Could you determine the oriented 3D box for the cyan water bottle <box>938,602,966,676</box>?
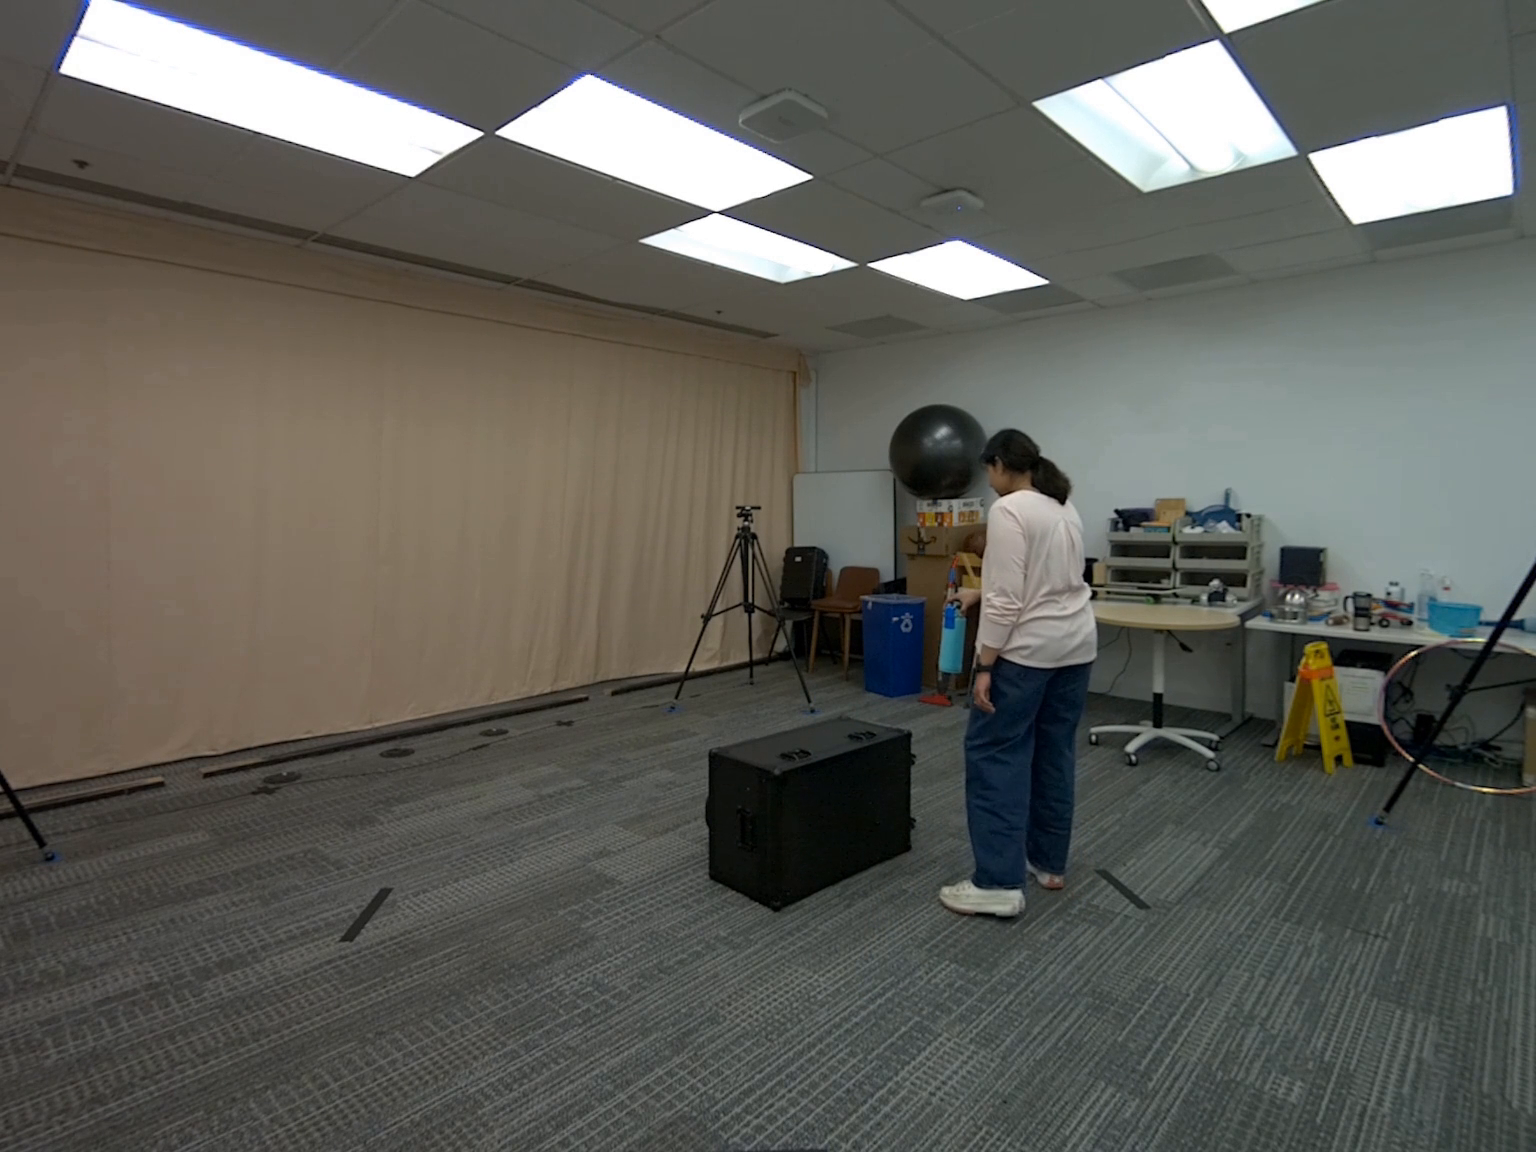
[{"bbox_3d":[0.757,0.249,3.411,0.092,0.282,0.093,2,4,-2],"label":"cyan water bottle"}]
